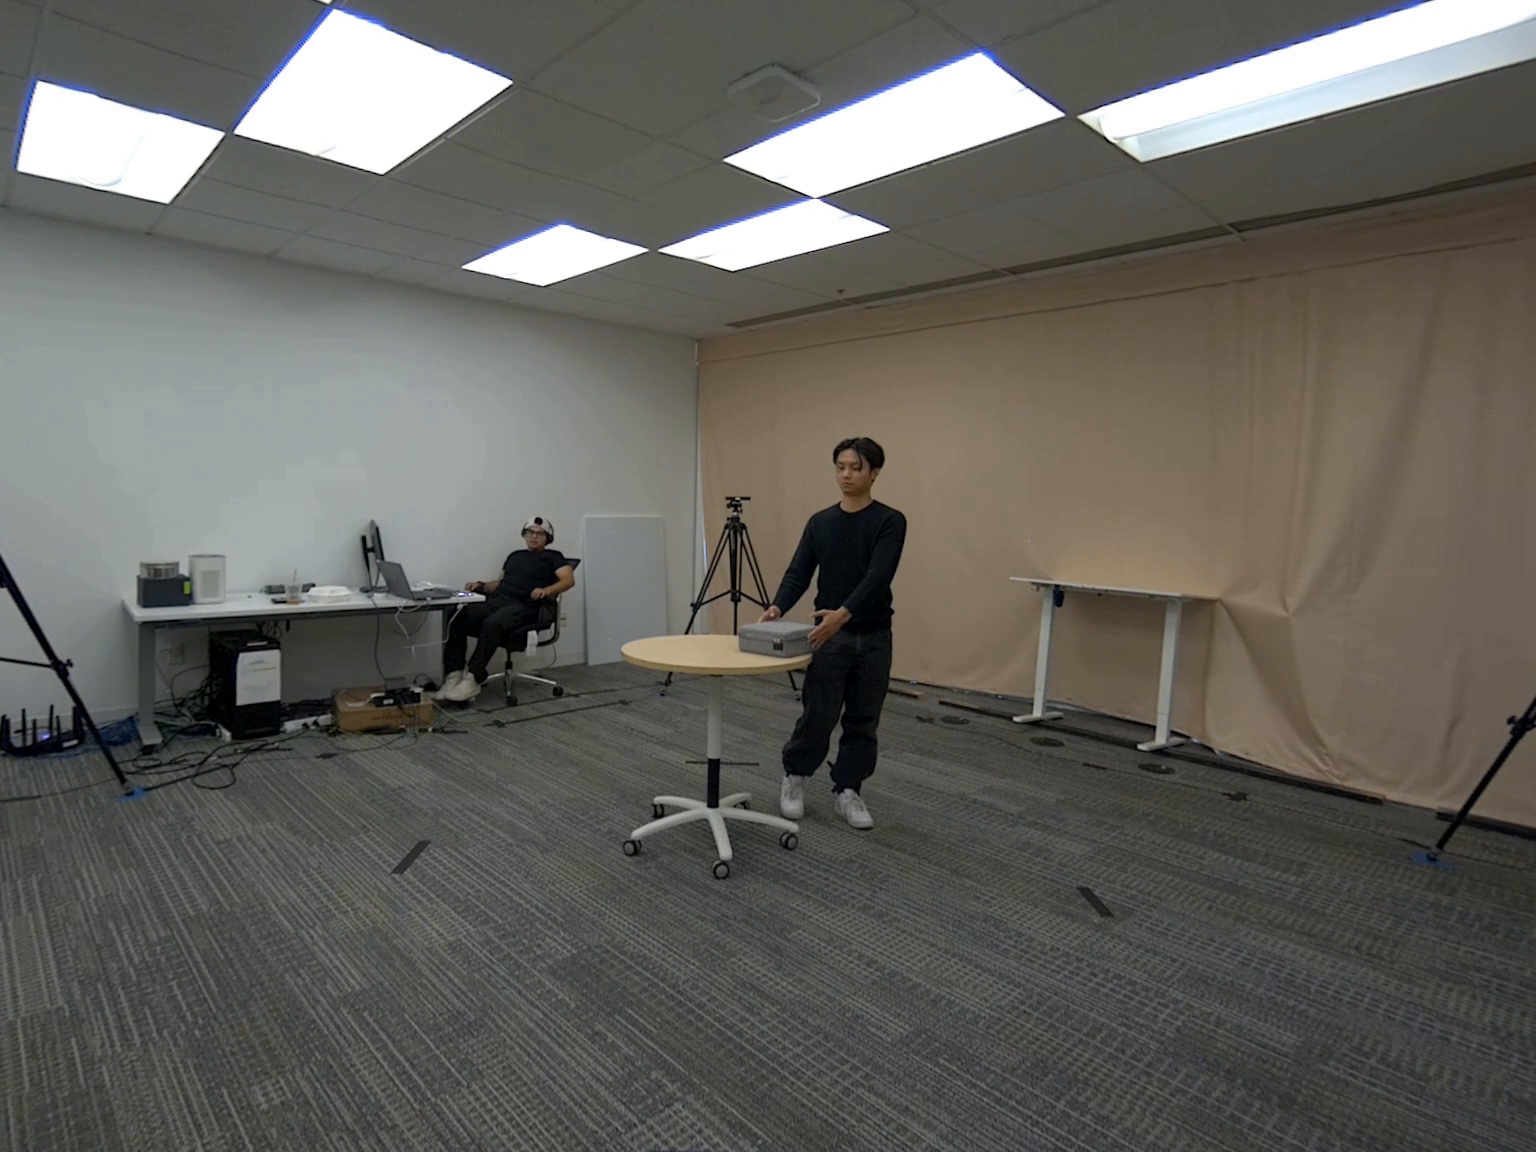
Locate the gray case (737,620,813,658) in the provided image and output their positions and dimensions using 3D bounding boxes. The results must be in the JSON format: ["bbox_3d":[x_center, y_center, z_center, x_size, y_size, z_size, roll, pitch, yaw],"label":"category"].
[{"bbox_3d":[0.017,0.250,3.395,0.263,0.104,0.255,2,5,35],"label":"gray case"}]
